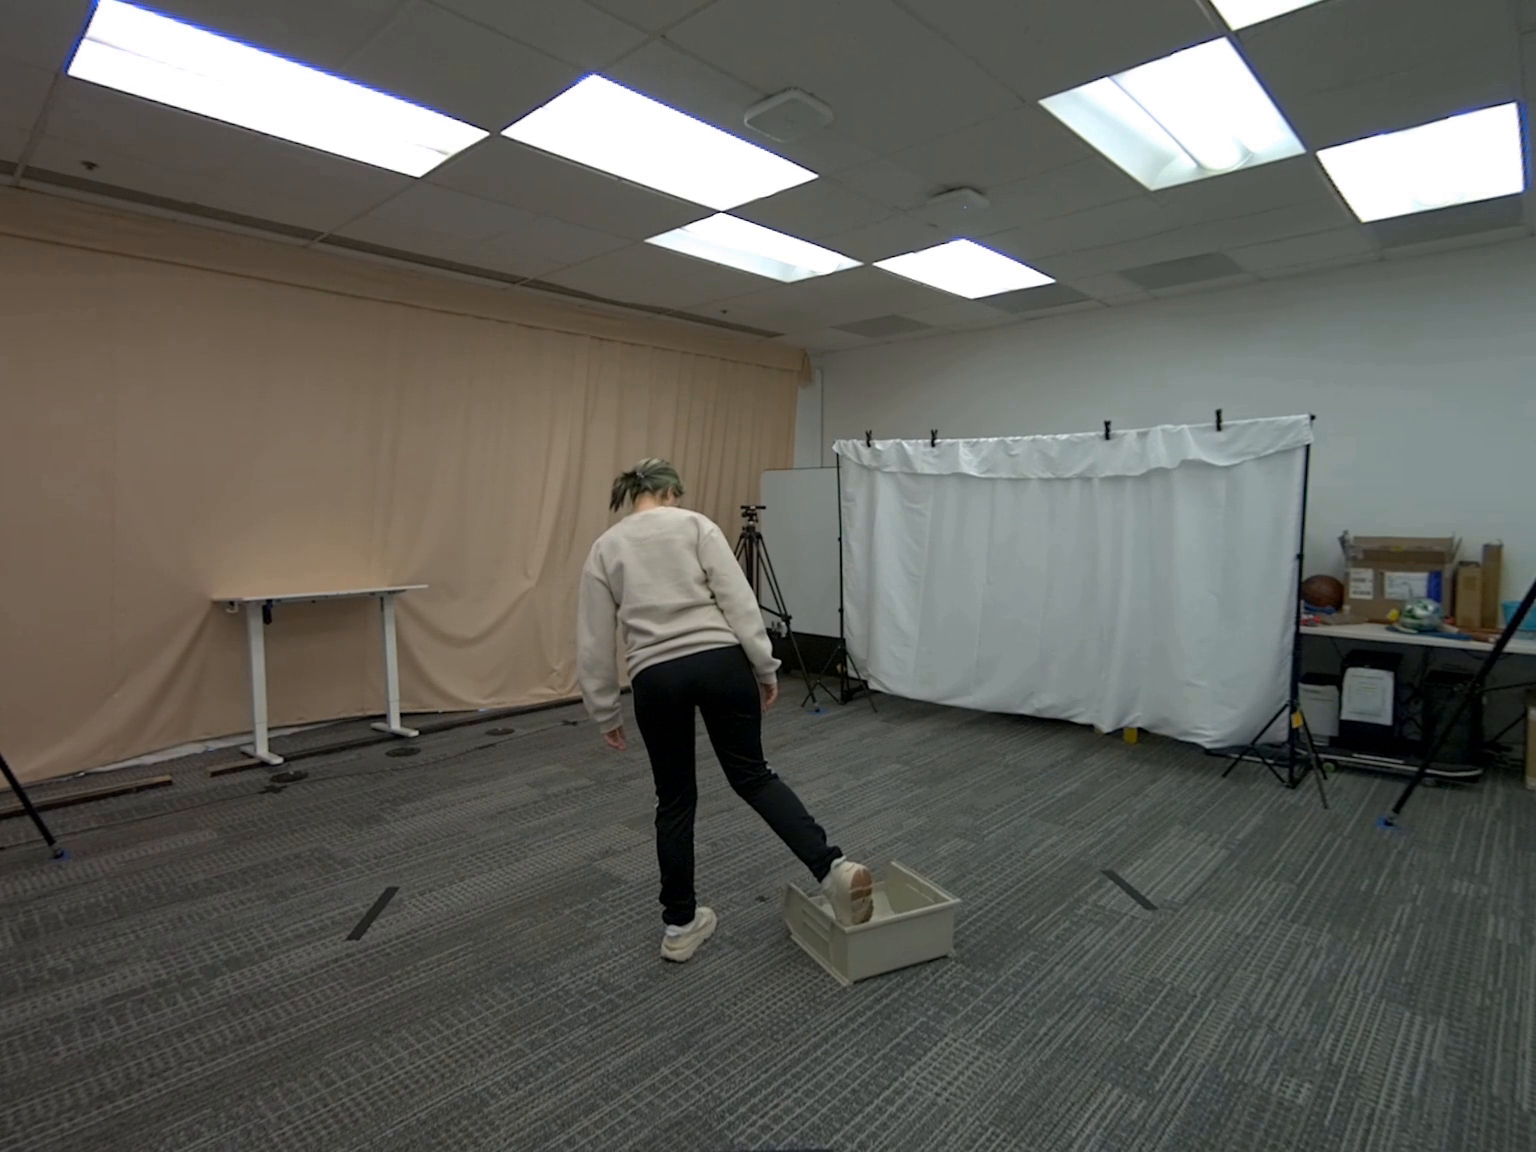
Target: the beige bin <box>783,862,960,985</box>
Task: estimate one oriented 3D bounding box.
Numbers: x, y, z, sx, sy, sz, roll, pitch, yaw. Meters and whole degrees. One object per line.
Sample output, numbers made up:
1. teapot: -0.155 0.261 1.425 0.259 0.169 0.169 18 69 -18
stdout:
1. beige bin: 0.324 1.079 2.672 0.412 0.188 0.388 -2 5 -27
